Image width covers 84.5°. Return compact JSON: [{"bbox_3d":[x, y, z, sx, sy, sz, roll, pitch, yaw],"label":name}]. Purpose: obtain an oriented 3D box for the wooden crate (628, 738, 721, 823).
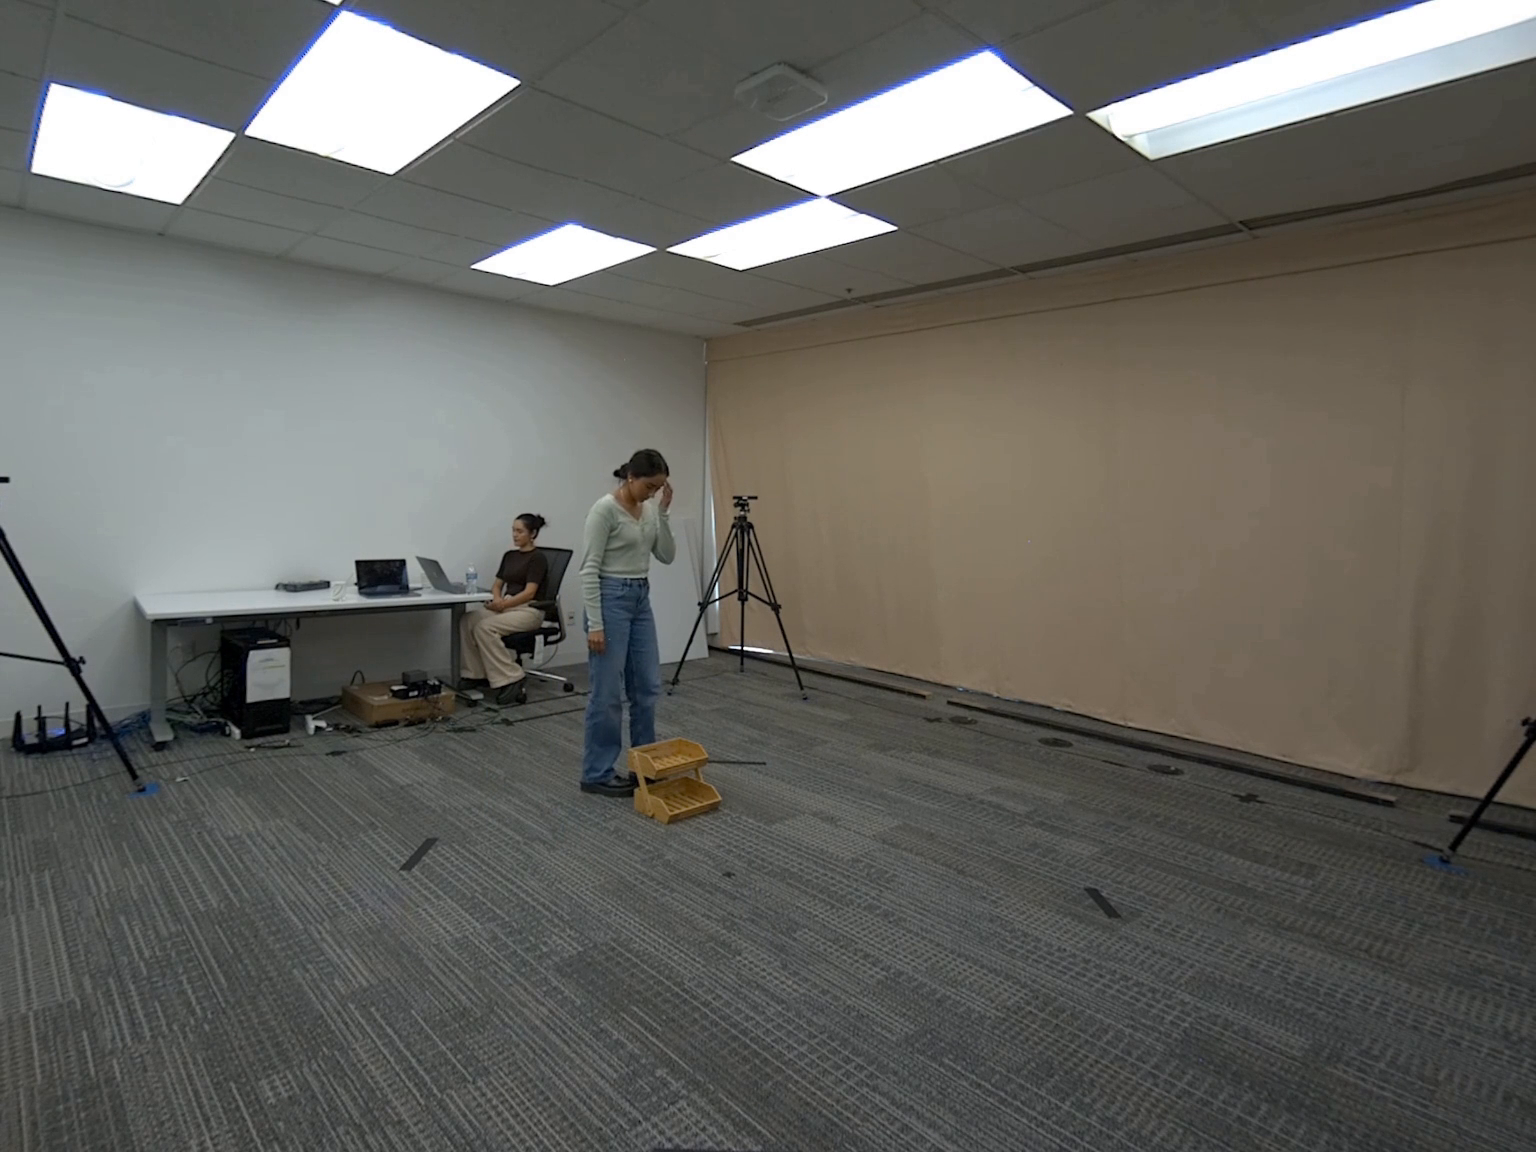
[{"bbox_3d":[-0.425,0.904,3.764,0.317,0.273,0.309,-3,5,-45],"label":"wooden crate"}]
